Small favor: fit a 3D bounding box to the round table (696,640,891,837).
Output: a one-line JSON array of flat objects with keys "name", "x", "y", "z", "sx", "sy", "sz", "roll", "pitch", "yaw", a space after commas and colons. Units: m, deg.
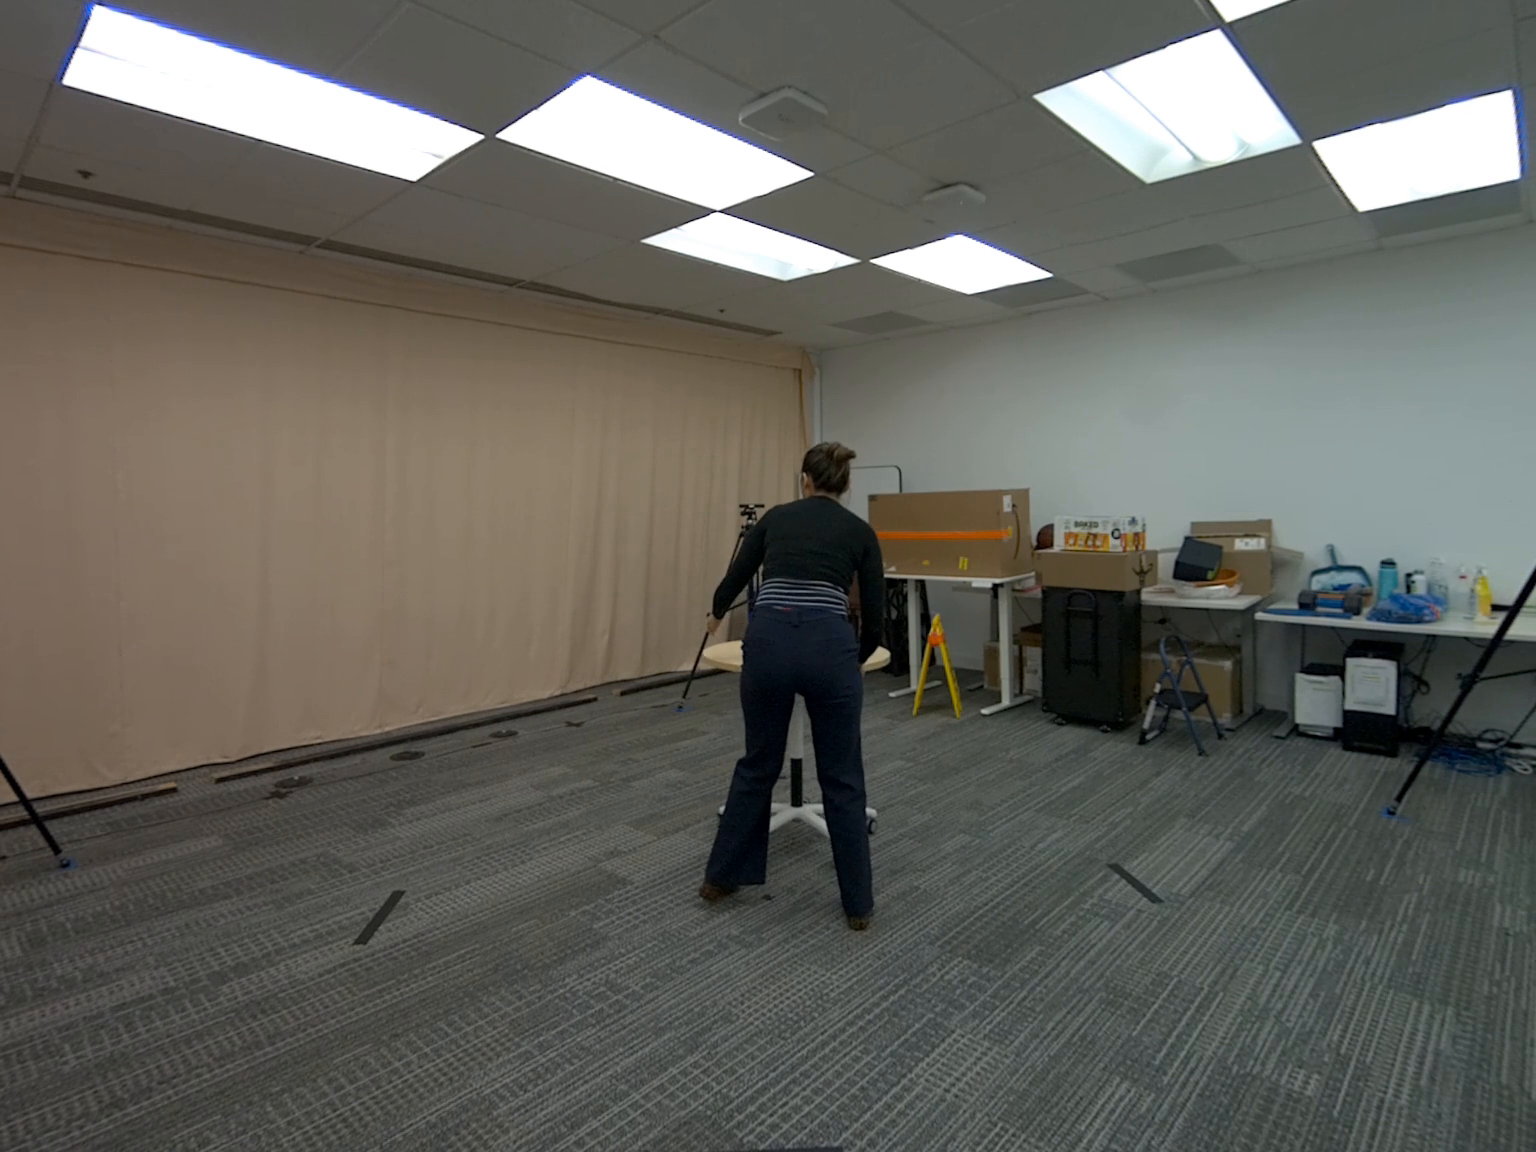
[{"name": "round table", "x": 0.124, "y": 0.704, "z": 3.486, "sx": 0.763, "sy": 0.792, "sz": 0.766, "roll": -1, "pitch": 3, "yaw": -2}]
